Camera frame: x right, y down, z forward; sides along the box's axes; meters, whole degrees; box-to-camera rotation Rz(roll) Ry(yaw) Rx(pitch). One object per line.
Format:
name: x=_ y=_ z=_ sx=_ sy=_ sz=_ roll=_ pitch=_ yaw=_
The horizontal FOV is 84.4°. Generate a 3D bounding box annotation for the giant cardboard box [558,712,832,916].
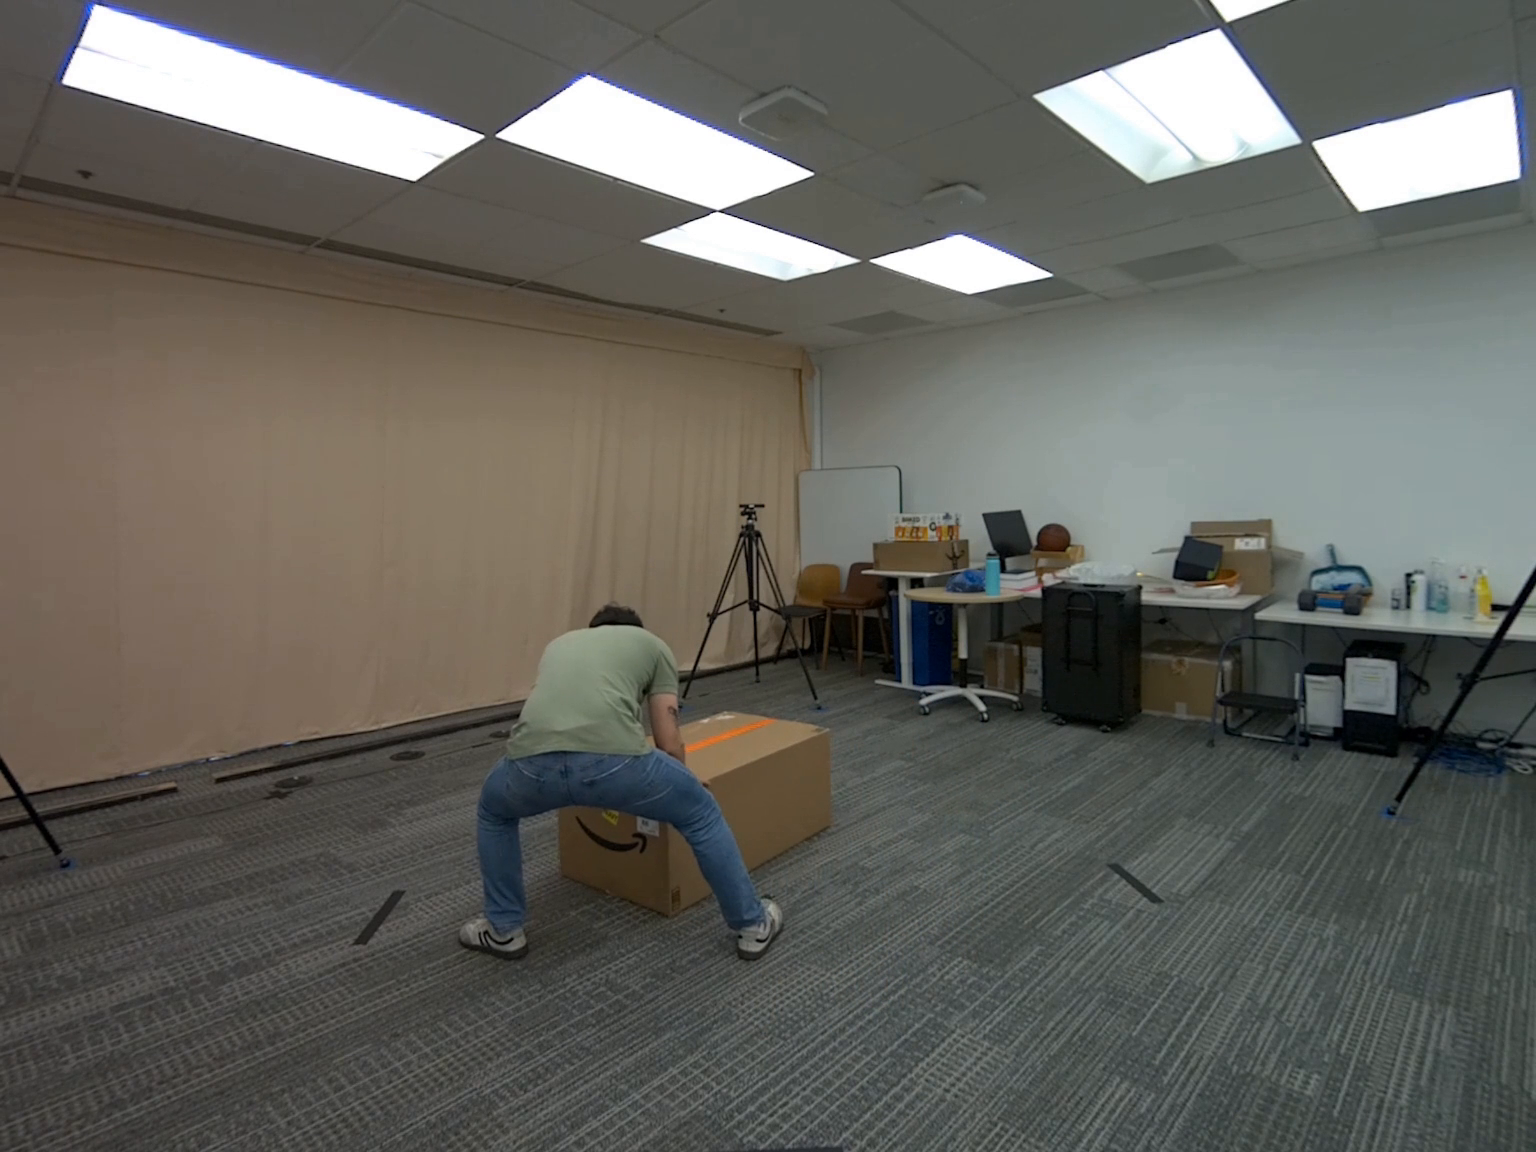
giant cardboard box: x=-0.263 y=0.896 z=3.406 sx=0.596 sy=0.425 sz=0.996 roll=1 pitch=5 yaw=38
